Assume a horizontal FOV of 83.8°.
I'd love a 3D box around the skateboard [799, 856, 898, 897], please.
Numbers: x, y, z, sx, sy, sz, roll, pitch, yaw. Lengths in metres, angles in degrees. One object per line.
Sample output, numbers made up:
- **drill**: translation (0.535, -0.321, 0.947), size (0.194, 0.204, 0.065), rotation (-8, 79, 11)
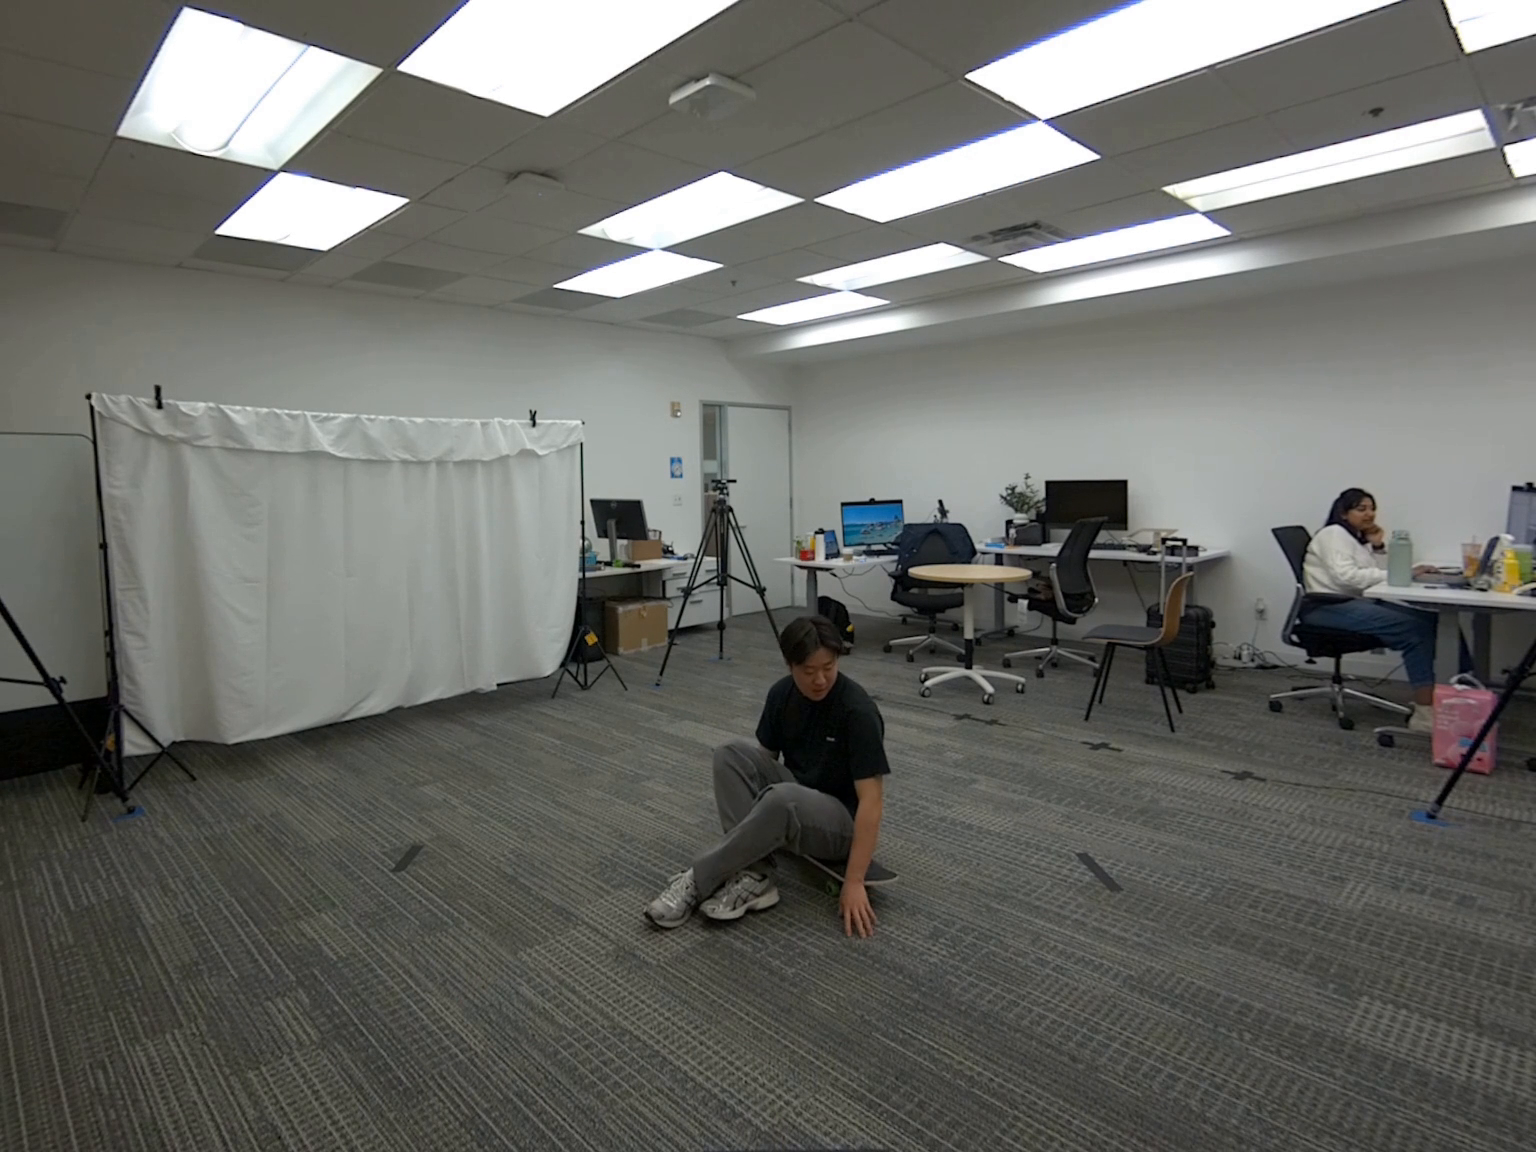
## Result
- **skateboard**: translation (0.183, 0.996, 3.073), size (0.188, 0.110, 0.808), rotation (1, 5, -31)
